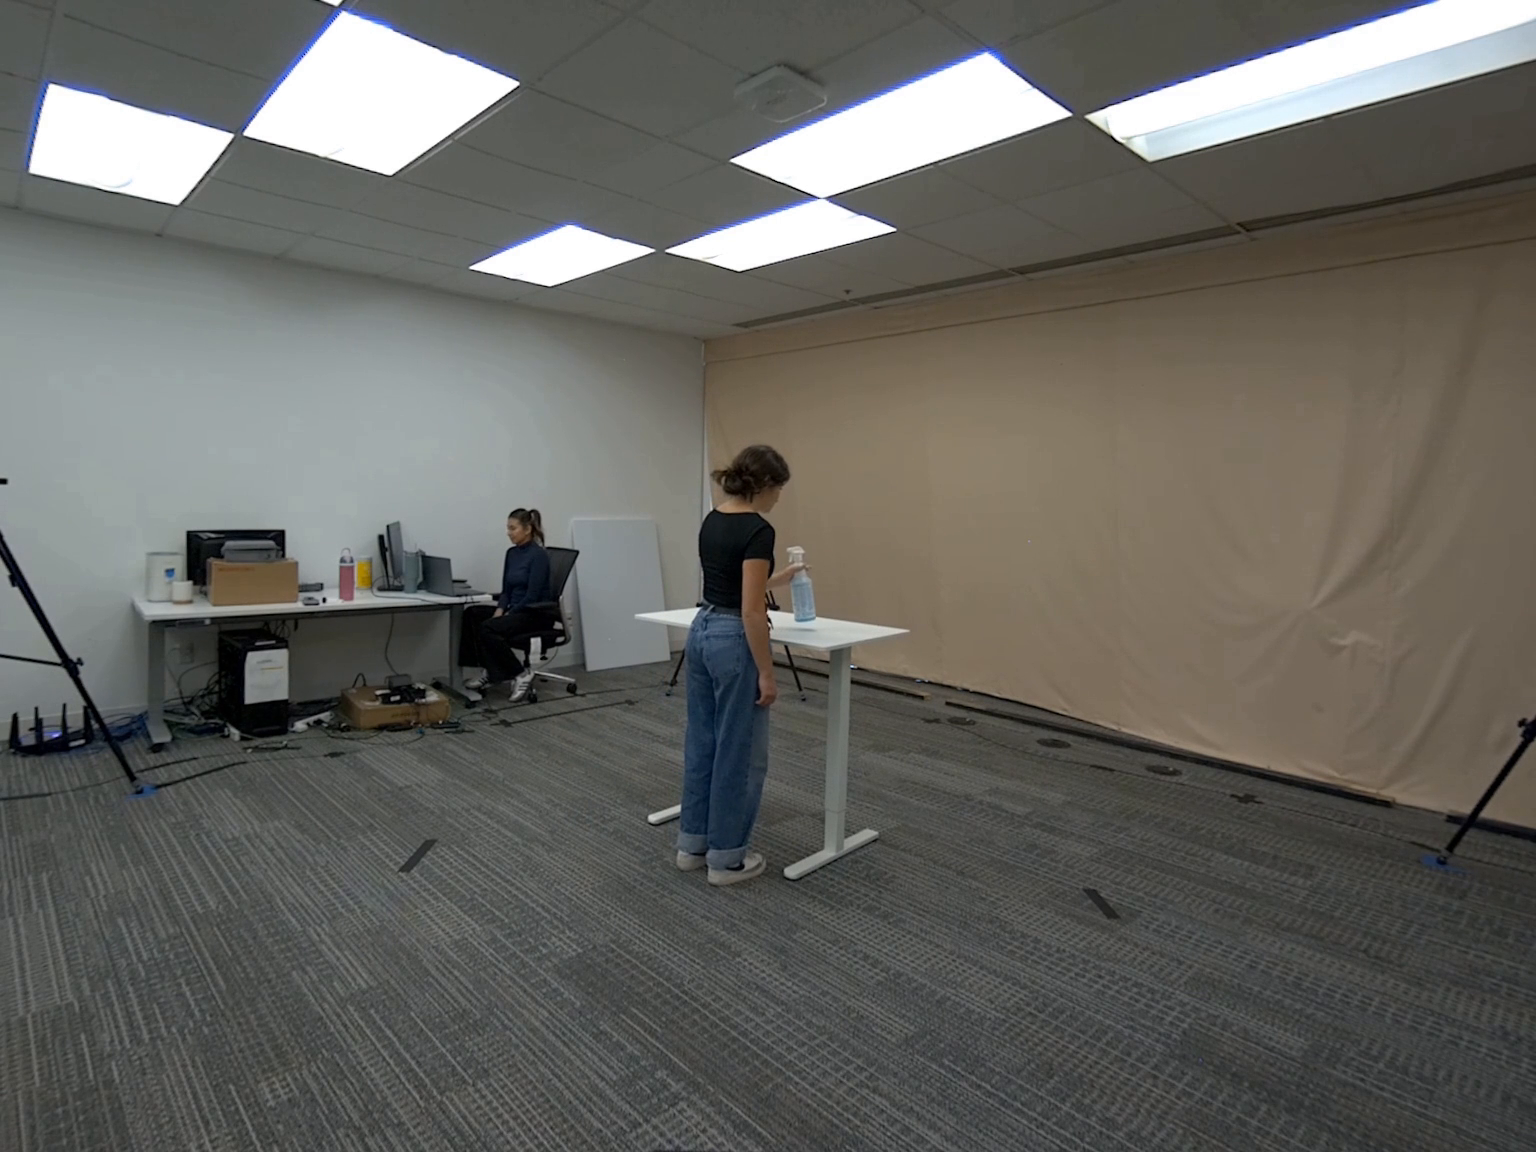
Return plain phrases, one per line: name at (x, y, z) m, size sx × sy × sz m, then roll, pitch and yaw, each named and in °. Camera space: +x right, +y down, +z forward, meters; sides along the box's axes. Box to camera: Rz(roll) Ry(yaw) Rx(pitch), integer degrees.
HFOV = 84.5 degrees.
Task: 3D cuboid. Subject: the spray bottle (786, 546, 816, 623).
spray bottle at (0.124, 0.032, 3.319) m, size 0.089 × 0.296 × 0.088 m, roll -10°, pitch 6°, yaw -19°
